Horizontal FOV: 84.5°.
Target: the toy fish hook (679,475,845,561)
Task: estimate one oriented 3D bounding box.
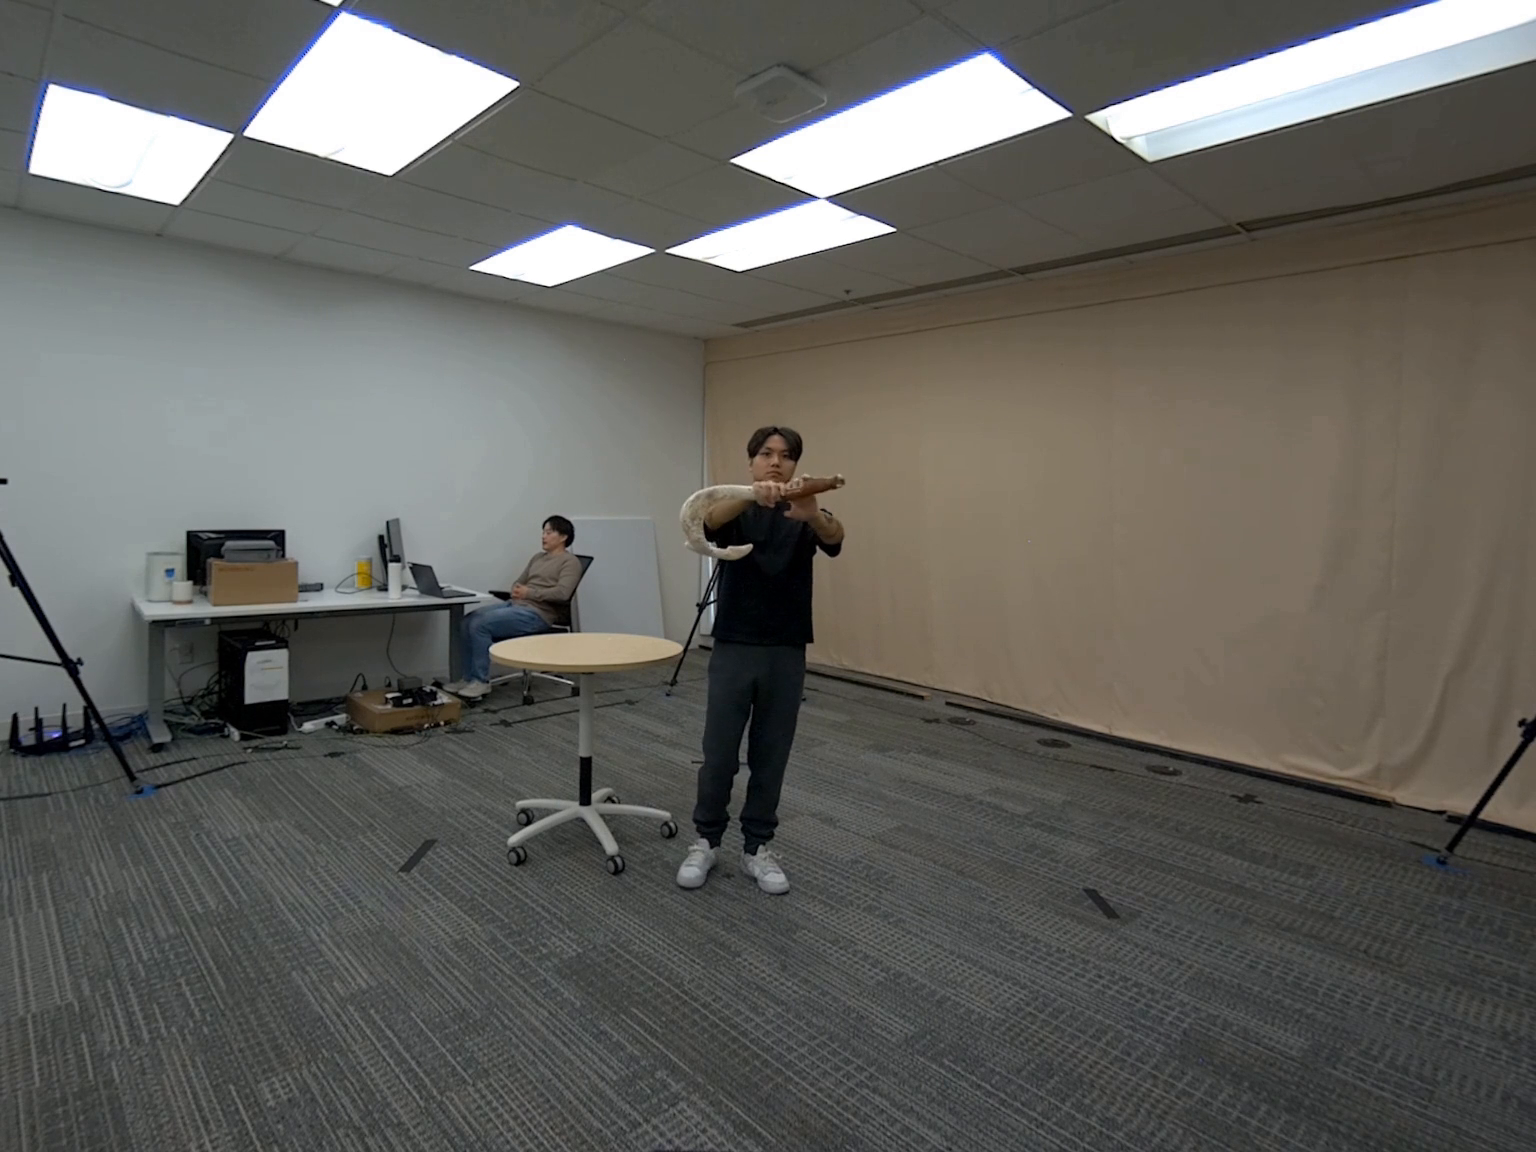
[{"bbox_3d":[-0.007,-0.177,2.504,0.506,0.224,0.048,-12,1,-2],"label":"toy fish hook"}]
